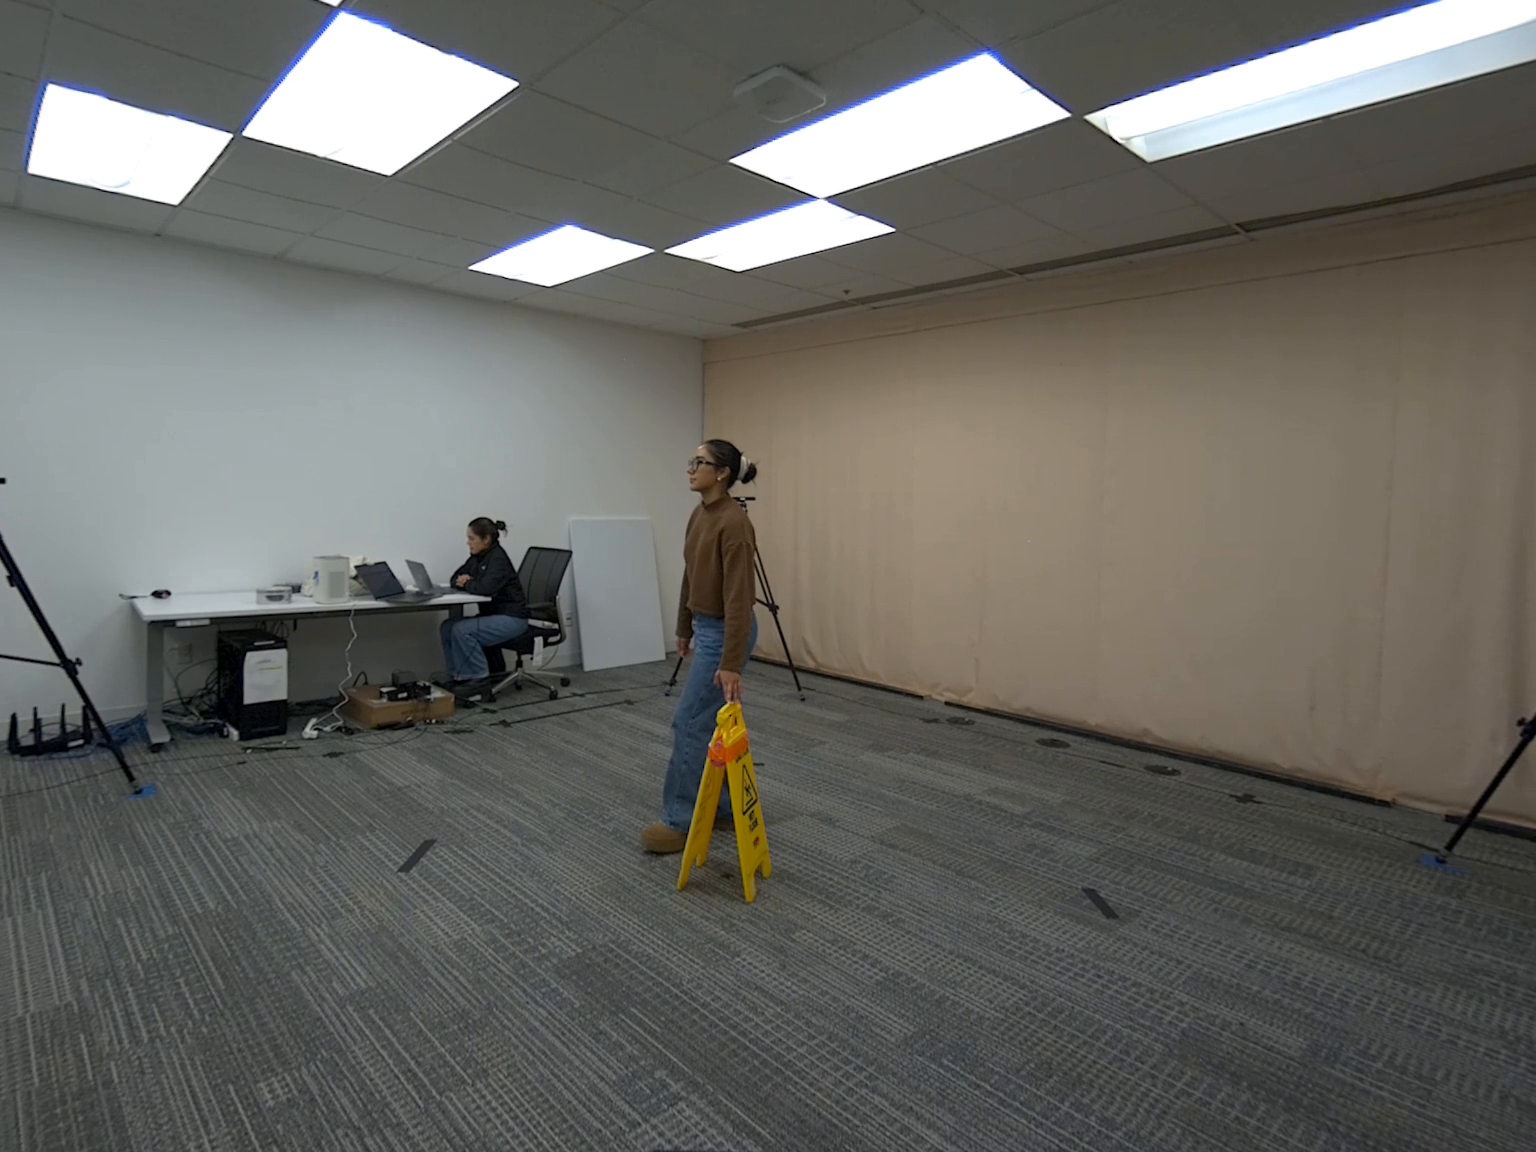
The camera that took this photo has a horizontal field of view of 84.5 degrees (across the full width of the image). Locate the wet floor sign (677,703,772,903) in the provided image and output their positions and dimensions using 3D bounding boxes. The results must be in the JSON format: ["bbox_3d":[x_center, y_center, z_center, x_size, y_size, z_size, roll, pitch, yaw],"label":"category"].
[{"bbox_3d":[-0.149,0.788,3.047,0.294,0.644,0.279,3,4,17],"label":"wet floor sign"}]
